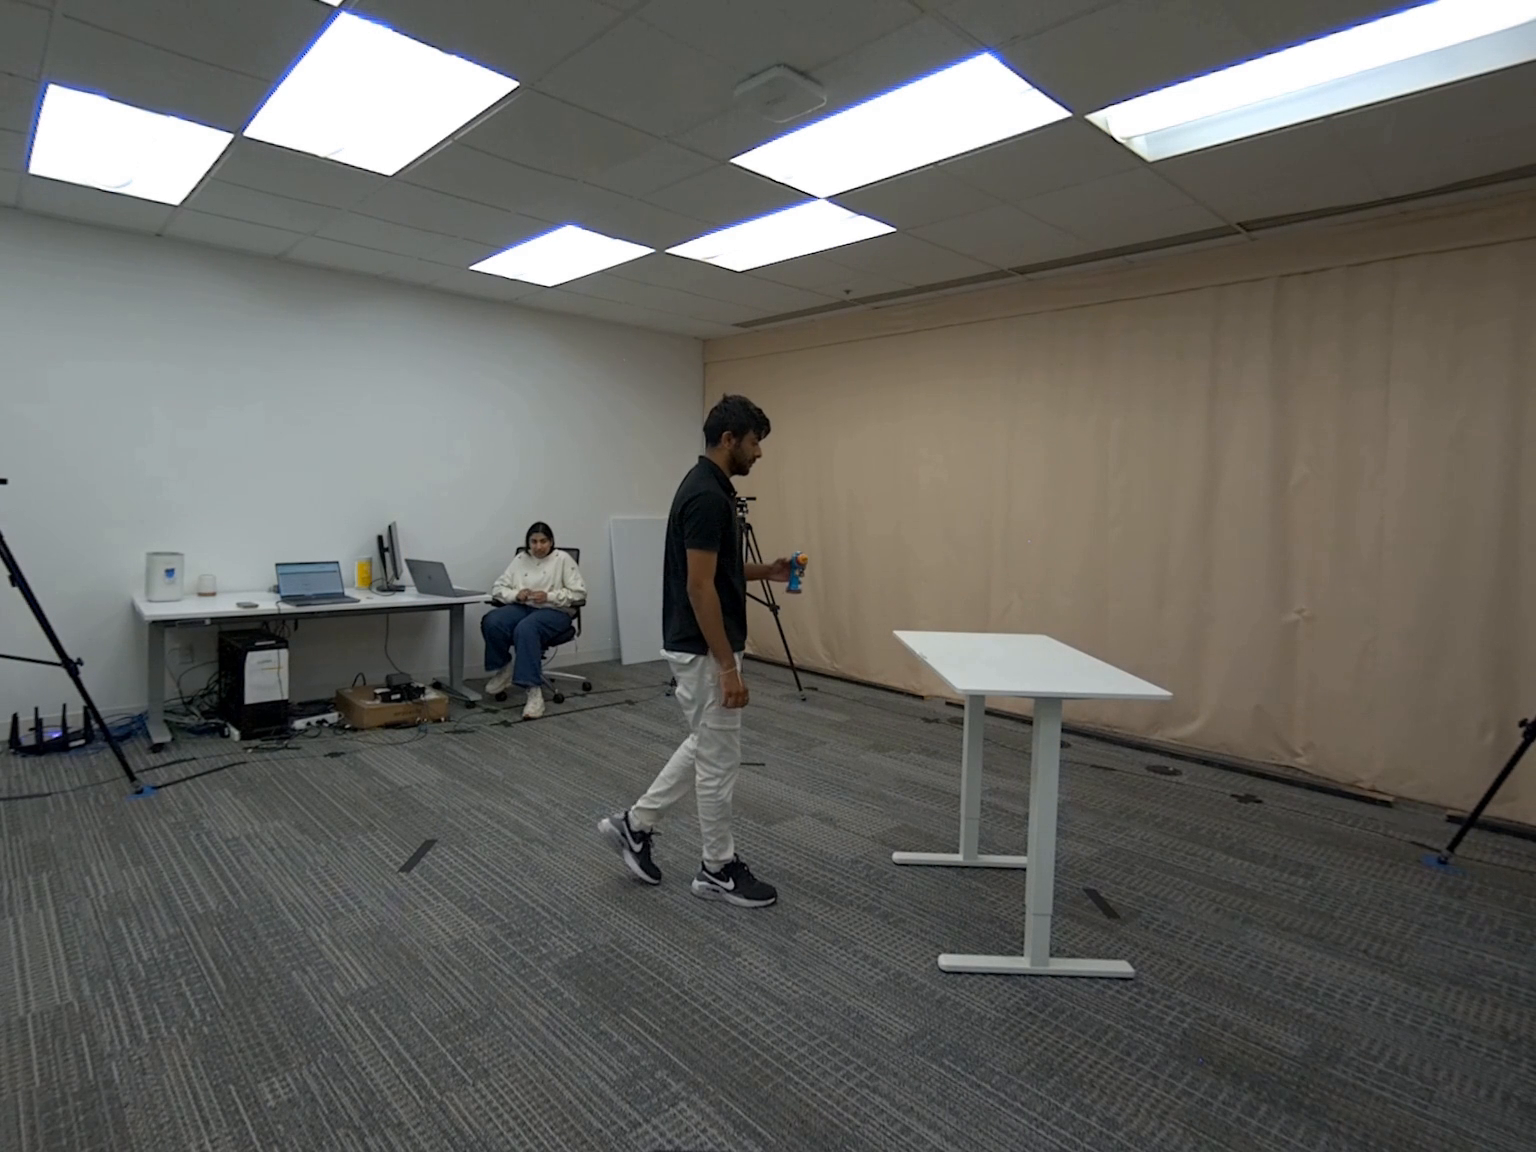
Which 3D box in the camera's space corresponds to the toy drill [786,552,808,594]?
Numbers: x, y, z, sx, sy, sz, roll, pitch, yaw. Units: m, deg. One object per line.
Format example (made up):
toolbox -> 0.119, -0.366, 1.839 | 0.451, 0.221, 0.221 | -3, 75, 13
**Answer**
toy drill -> 0.086, -0.017, 2.946 | 0.060, 0.147, 0.171 | 10, -8, -18
